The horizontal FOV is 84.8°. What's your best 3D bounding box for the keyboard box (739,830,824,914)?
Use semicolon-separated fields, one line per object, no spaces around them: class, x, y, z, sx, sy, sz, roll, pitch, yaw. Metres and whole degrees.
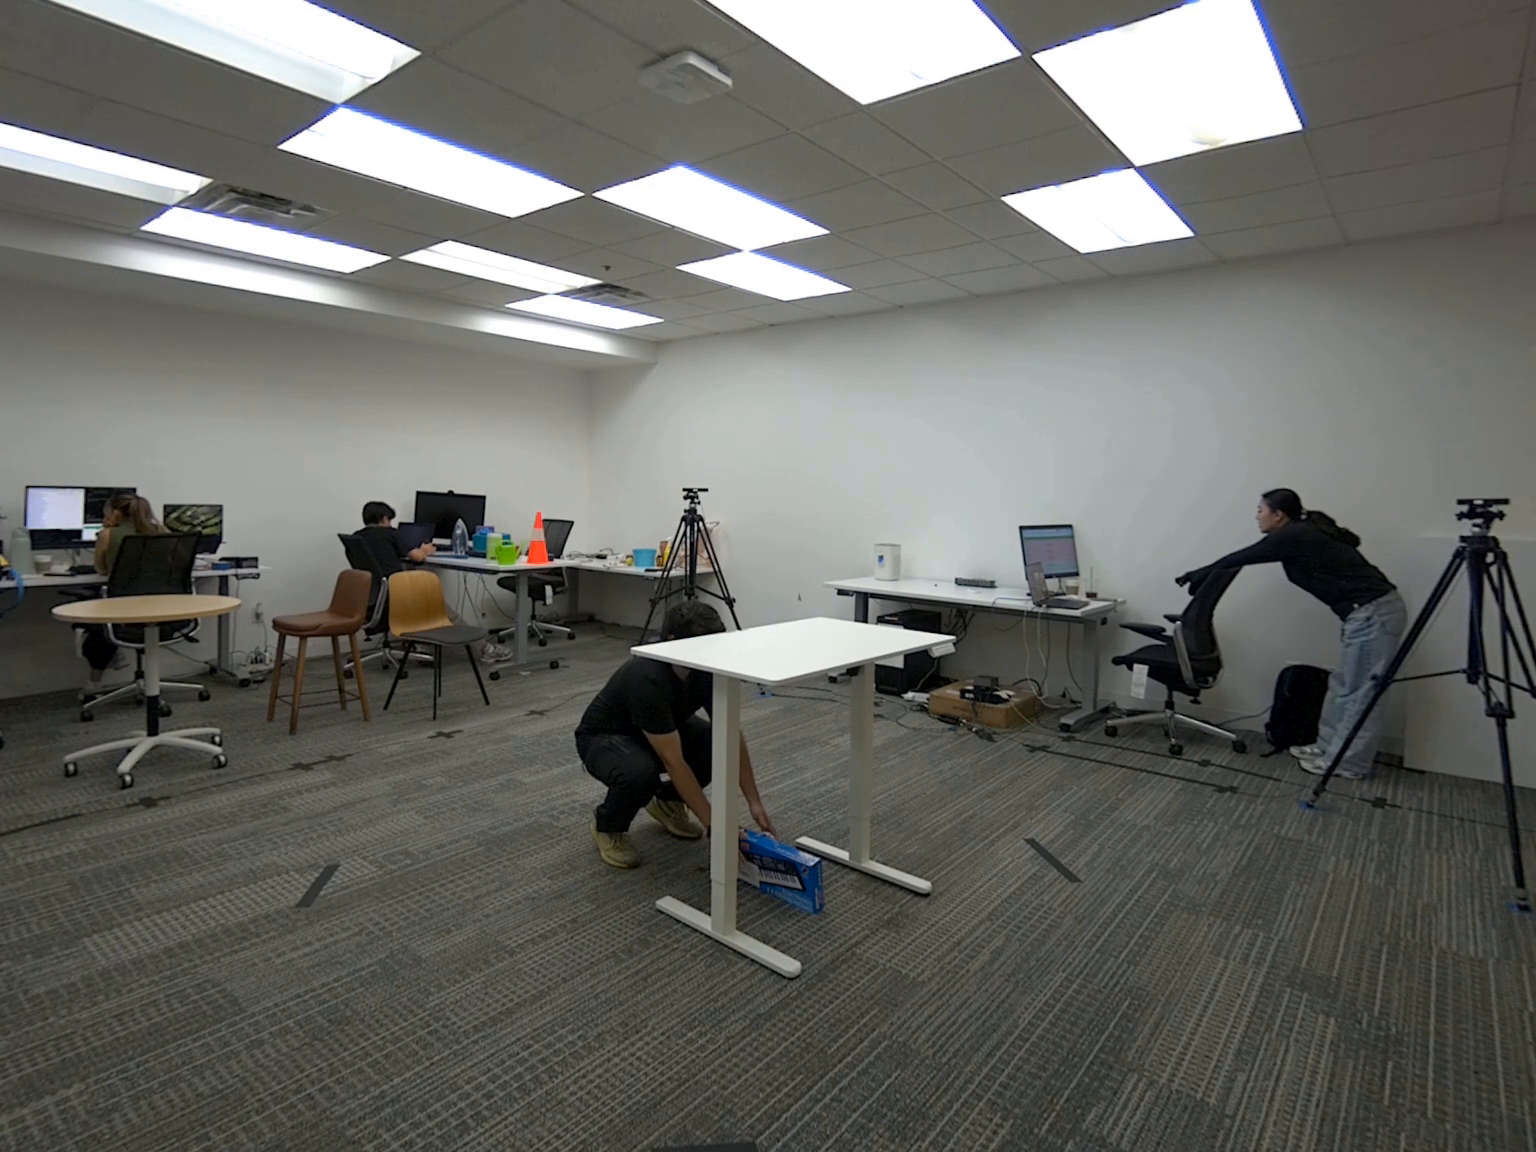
keyboard box;-0.007;1.002;2.950;0.452;0.174;0.057;6;12;43
